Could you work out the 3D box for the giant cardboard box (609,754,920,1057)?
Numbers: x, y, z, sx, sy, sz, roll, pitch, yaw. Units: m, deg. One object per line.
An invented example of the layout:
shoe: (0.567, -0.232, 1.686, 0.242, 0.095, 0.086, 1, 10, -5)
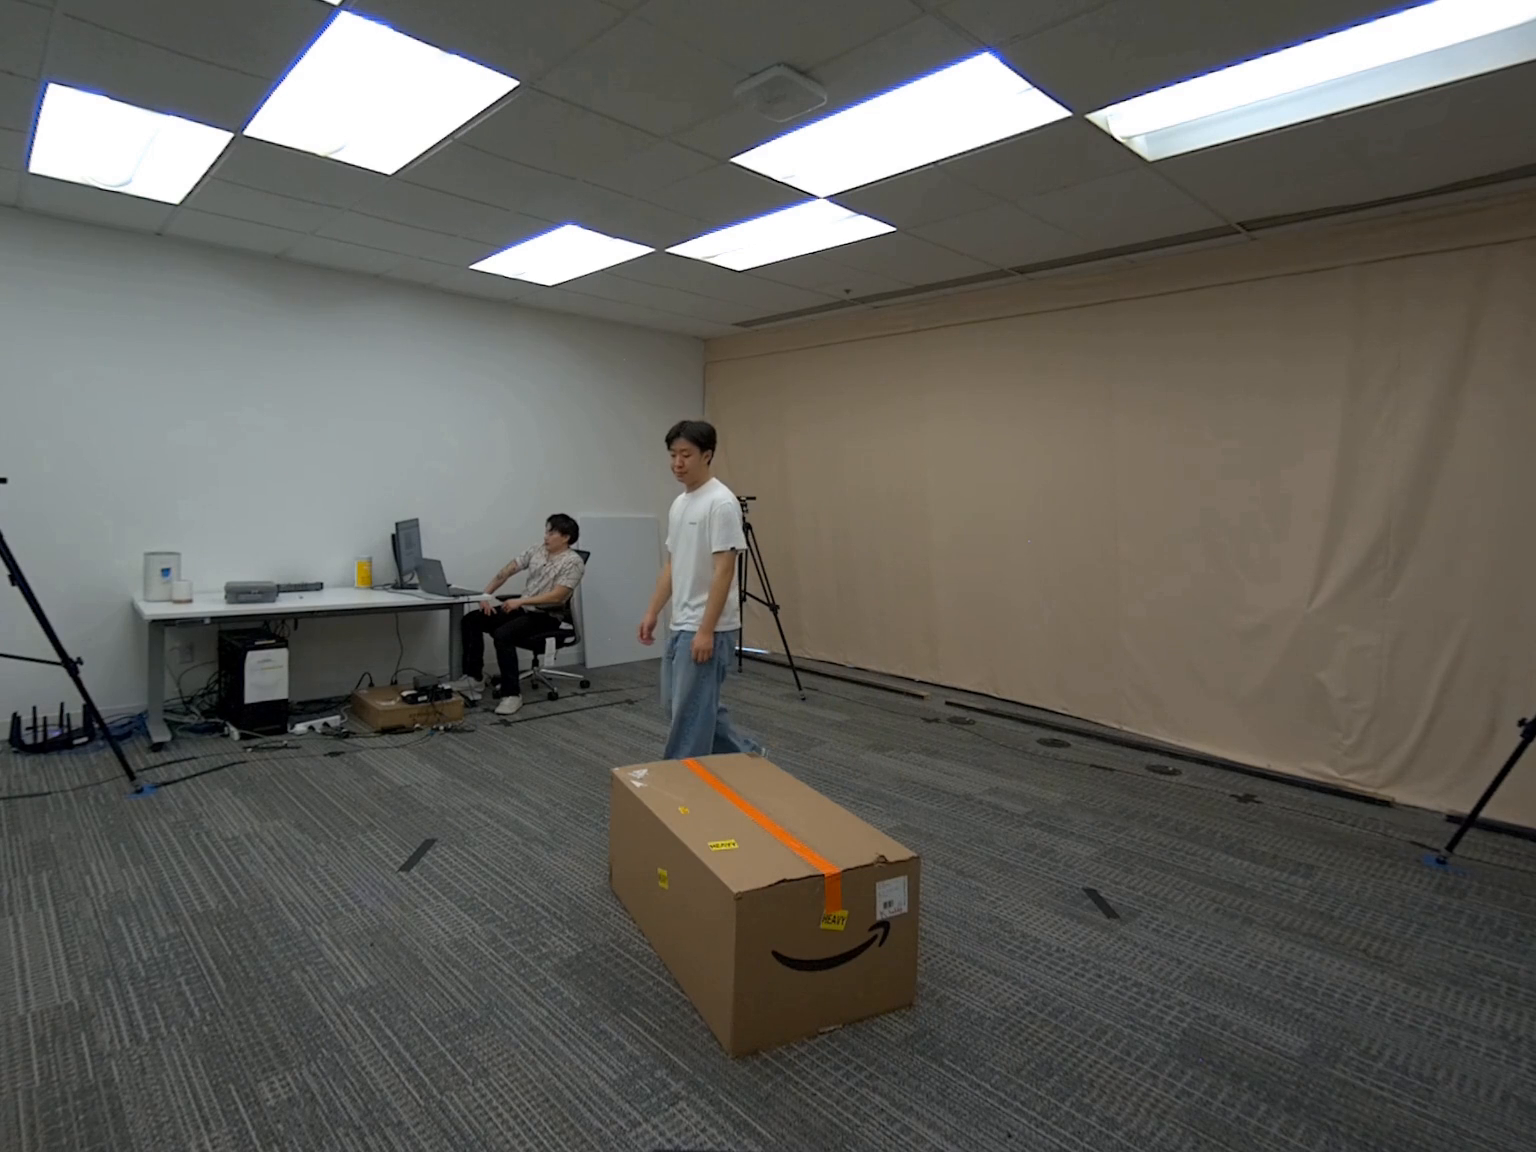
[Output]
giant cardboard box: (-0.075, 0.936, 2.655, 0.567, 0.425, 1.048, -1, 6, -27)
